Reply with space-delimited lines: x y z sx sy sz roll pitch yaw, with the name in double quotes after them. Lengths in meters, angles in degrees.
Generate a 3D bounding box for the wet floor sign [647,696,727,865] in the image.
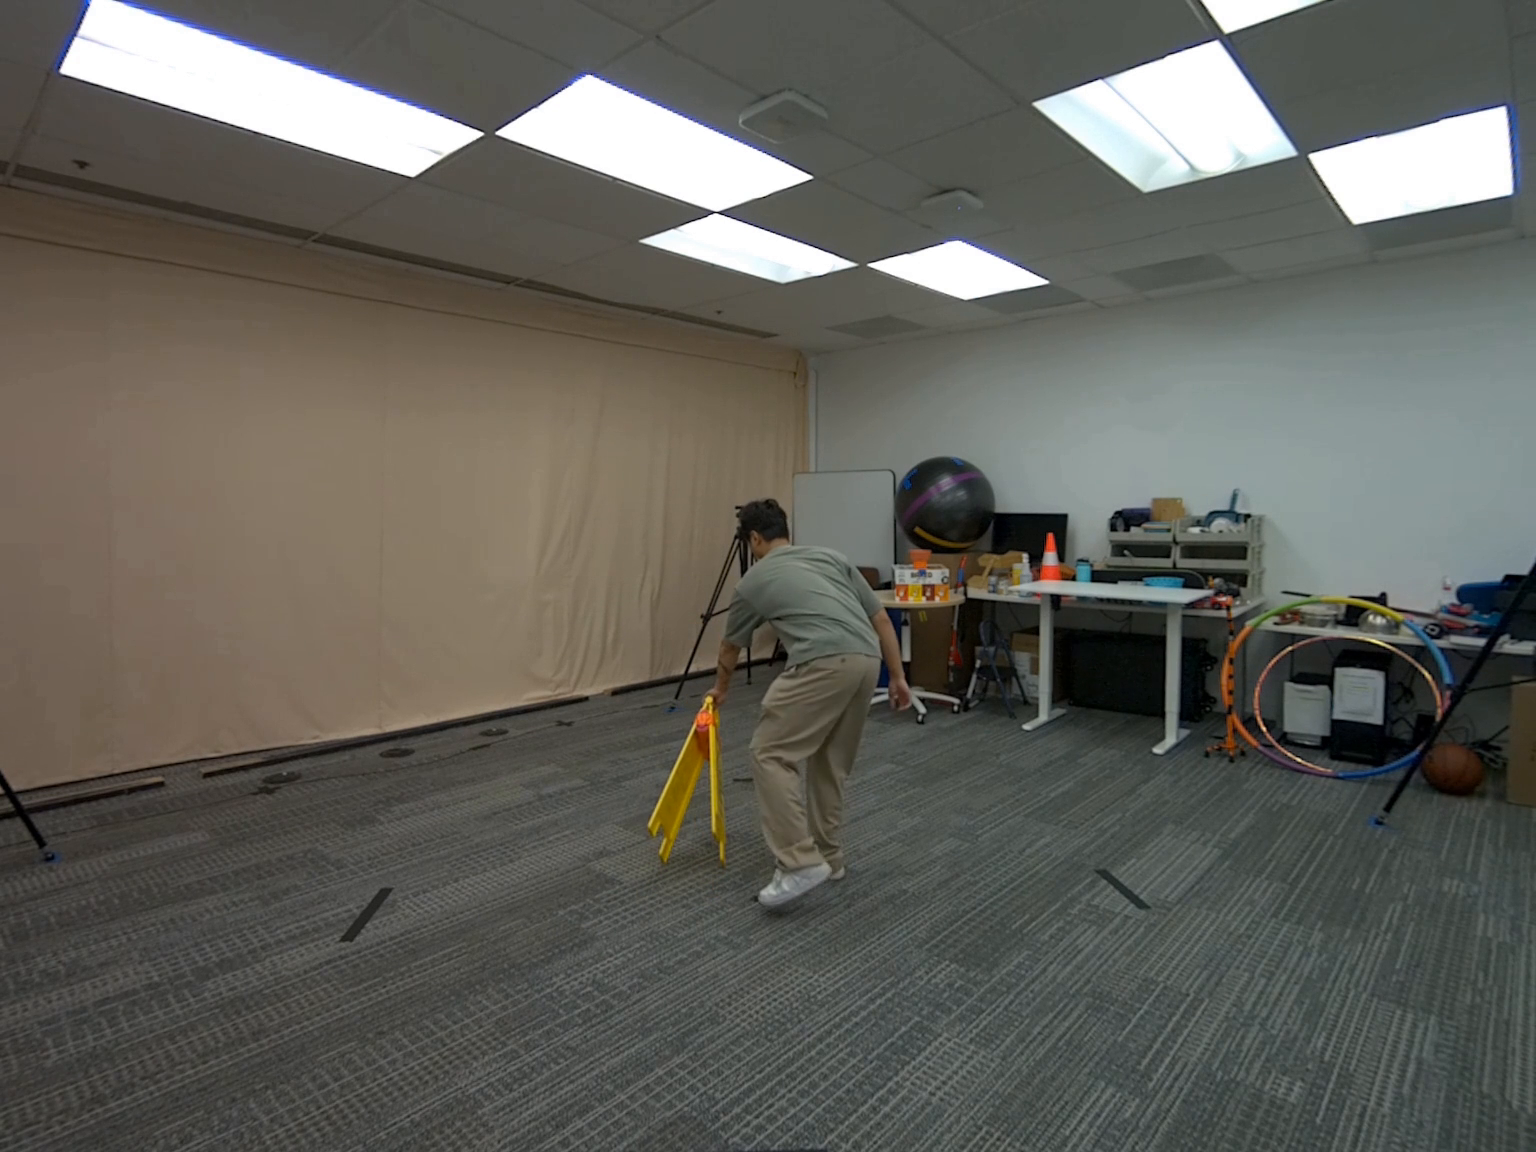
-0.271 0.795 3.404 0.293 0.275 0.654 0 45 9 "wet floor sign"
